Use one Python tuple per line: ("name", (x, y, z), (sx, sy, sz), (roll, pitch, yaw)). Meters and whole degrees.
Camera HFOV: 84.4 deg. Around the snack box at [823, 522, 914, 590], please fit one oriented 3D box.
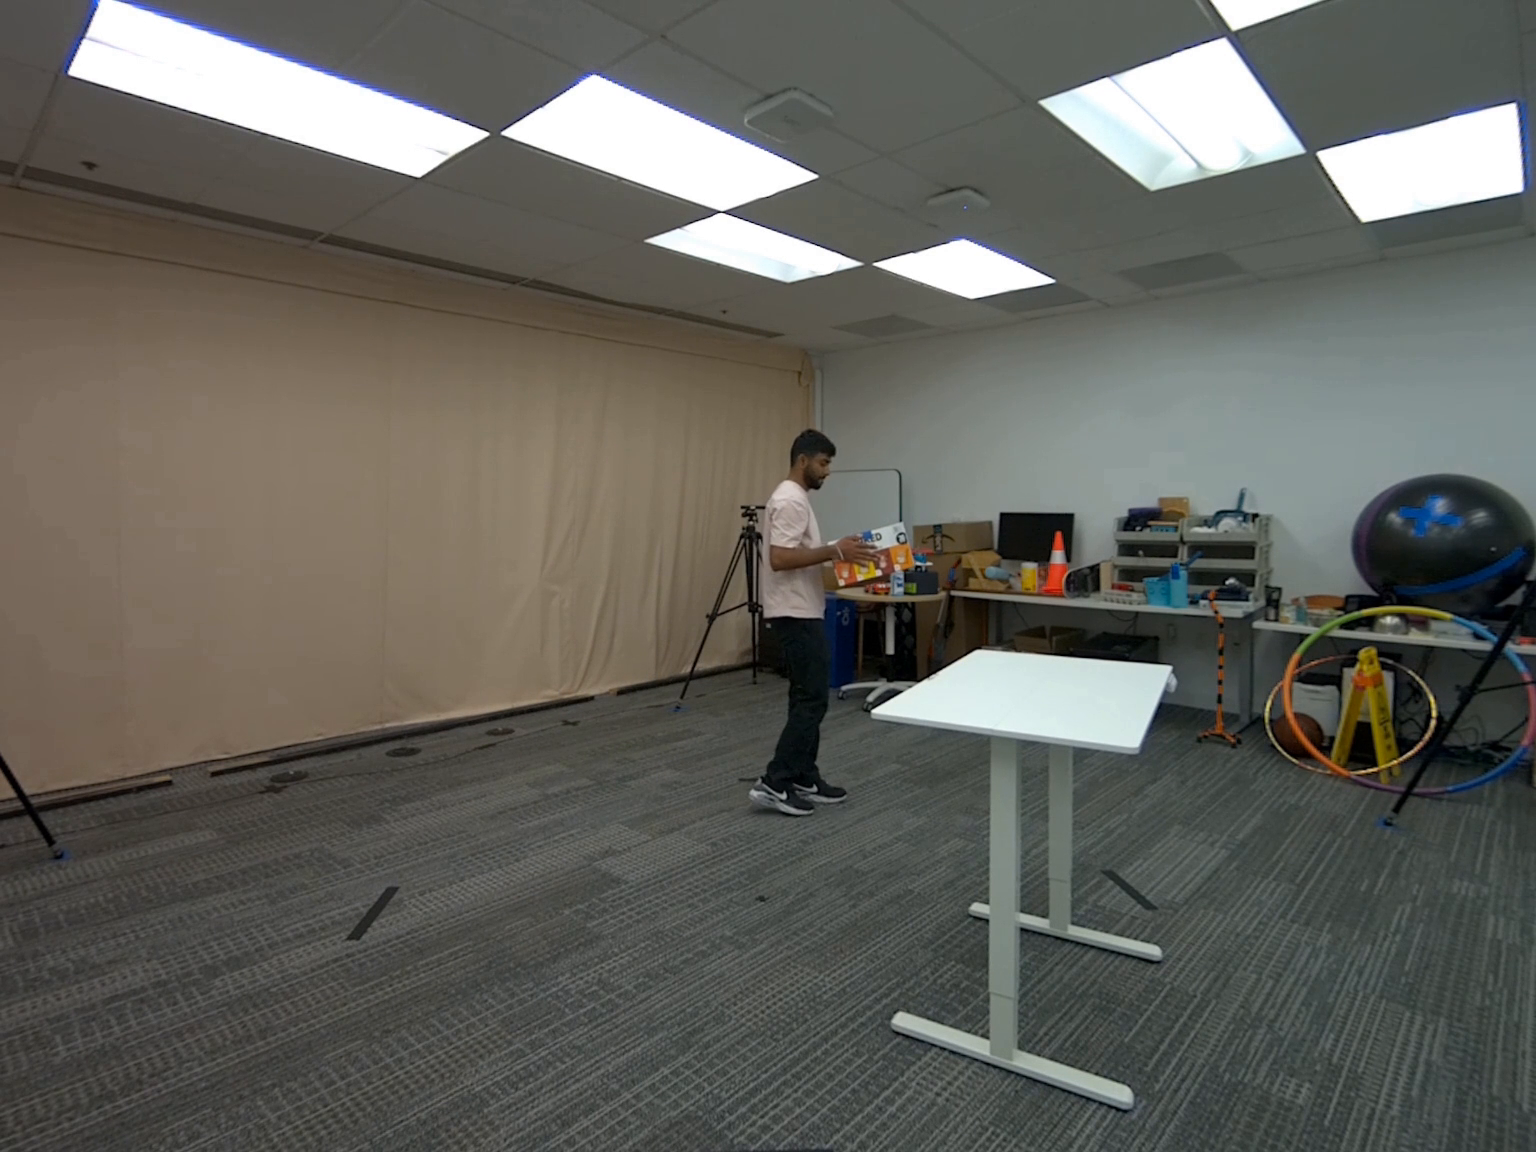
("snack box", (0.449, -0.092, 3.878), (0.342, 0.206, 0.403), (-15, -1, 4))
